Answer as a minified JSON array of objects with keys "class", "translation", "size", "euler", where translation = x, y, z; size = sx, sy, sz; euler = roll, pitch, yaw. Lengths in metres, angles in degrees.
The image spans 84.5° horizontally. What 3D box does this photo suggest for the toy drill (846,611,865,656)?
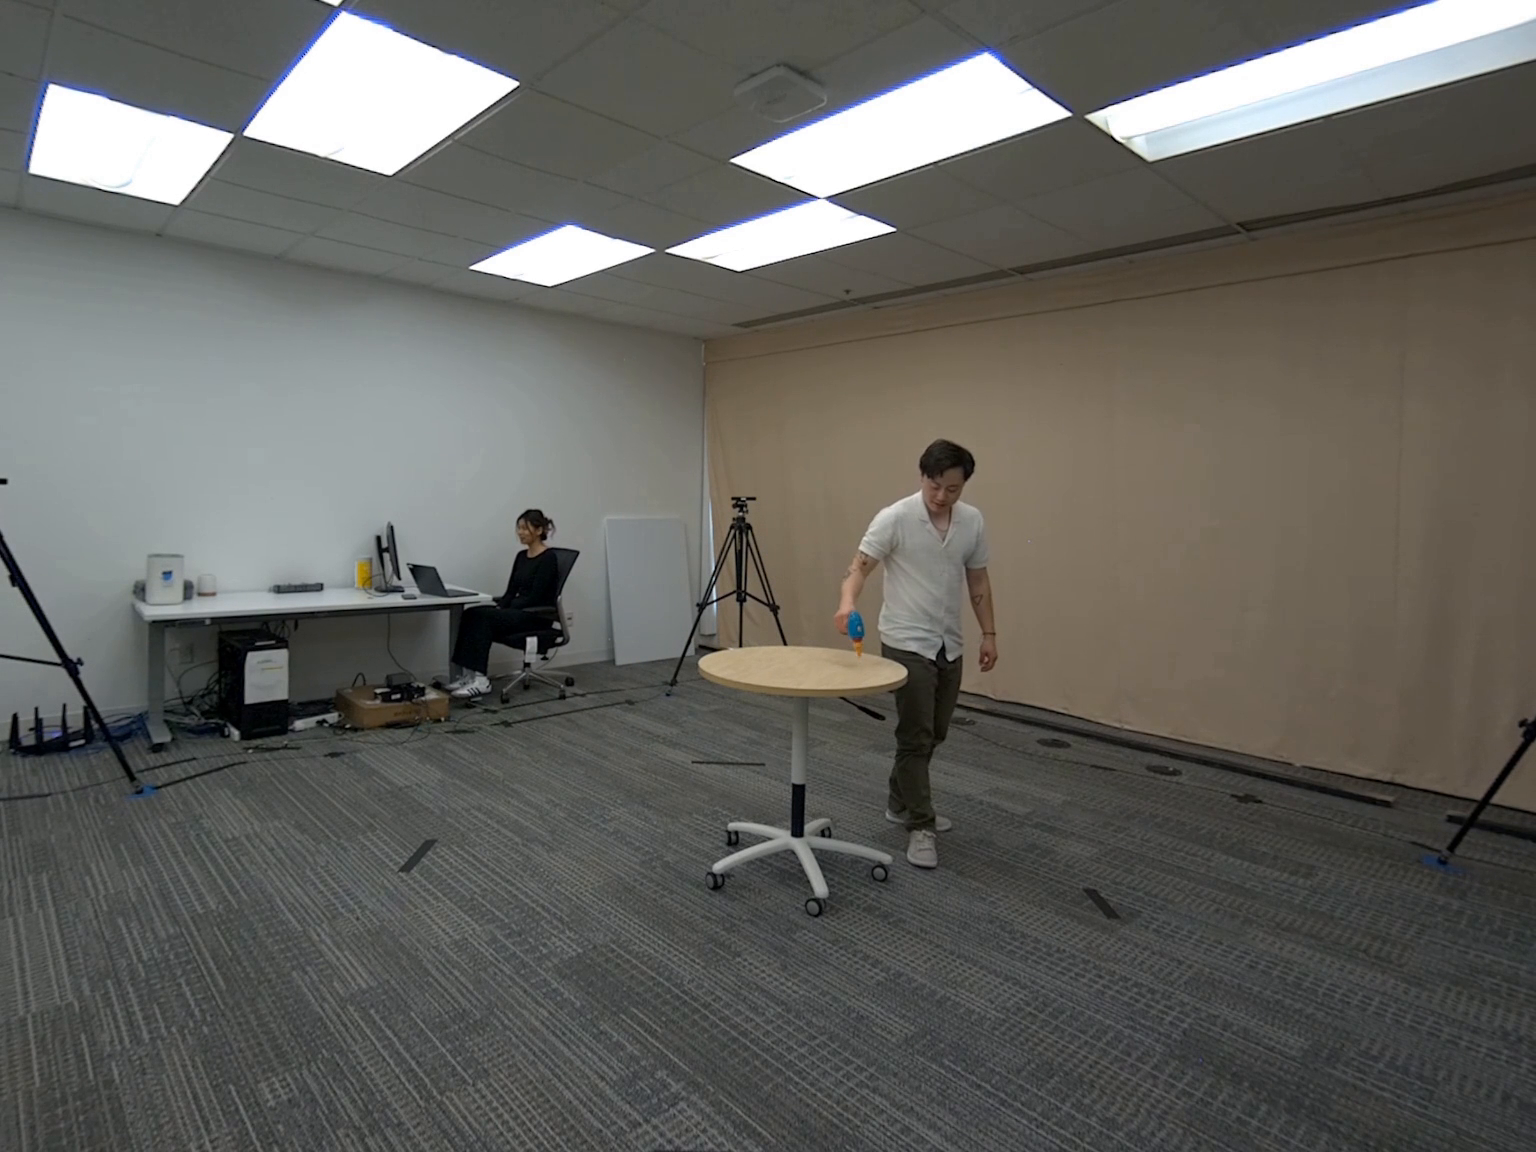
[{"class":"toy drill","translation":[0.307,0.223,3.141],"size":[0.060,0.171,0.146],"euler":[-6,-6,-13]}]
